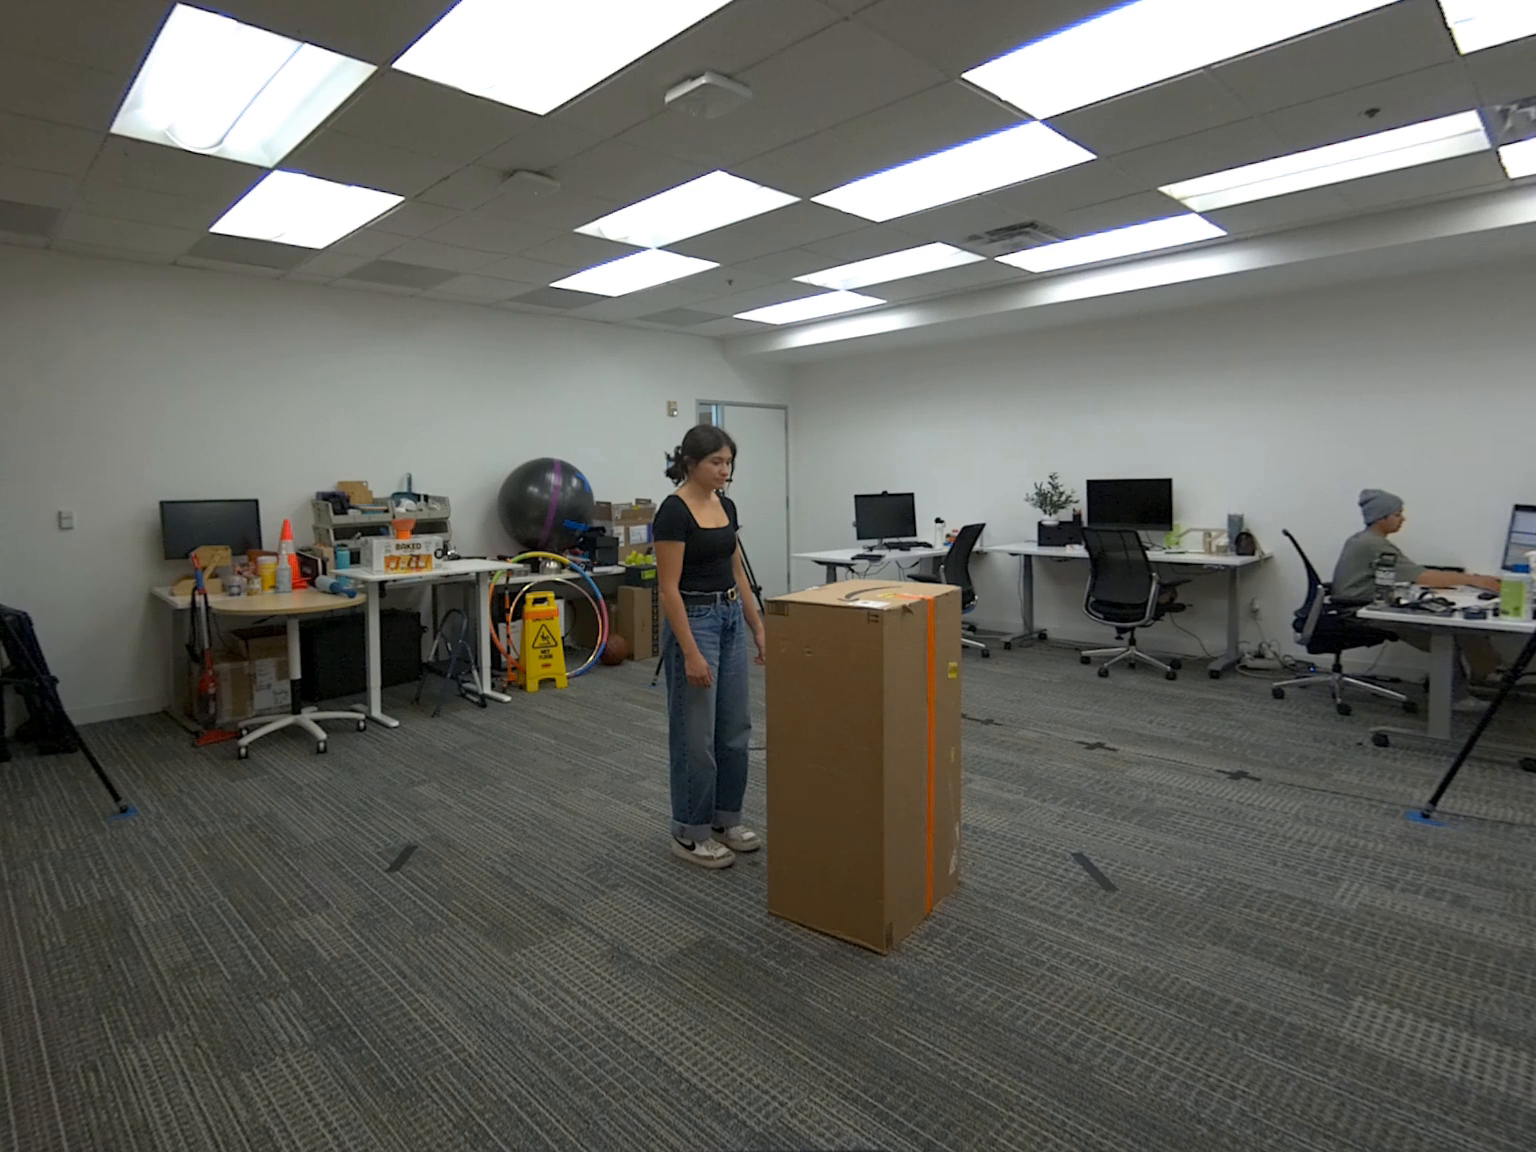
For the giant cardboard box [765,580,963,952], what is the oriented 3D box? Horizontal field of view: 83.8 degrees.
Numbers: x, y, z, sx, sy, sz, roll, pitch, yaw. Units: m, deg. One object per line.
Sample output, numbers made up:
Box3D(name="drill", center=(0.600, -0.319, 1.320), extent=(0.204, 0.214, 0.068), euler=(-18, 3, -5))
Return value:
Box3D(name="giant cardboard box", center=(0.330, 0.564, 2.804), extent=(0.438, 1.022, 0.563), euler=(2, 5, 36))
